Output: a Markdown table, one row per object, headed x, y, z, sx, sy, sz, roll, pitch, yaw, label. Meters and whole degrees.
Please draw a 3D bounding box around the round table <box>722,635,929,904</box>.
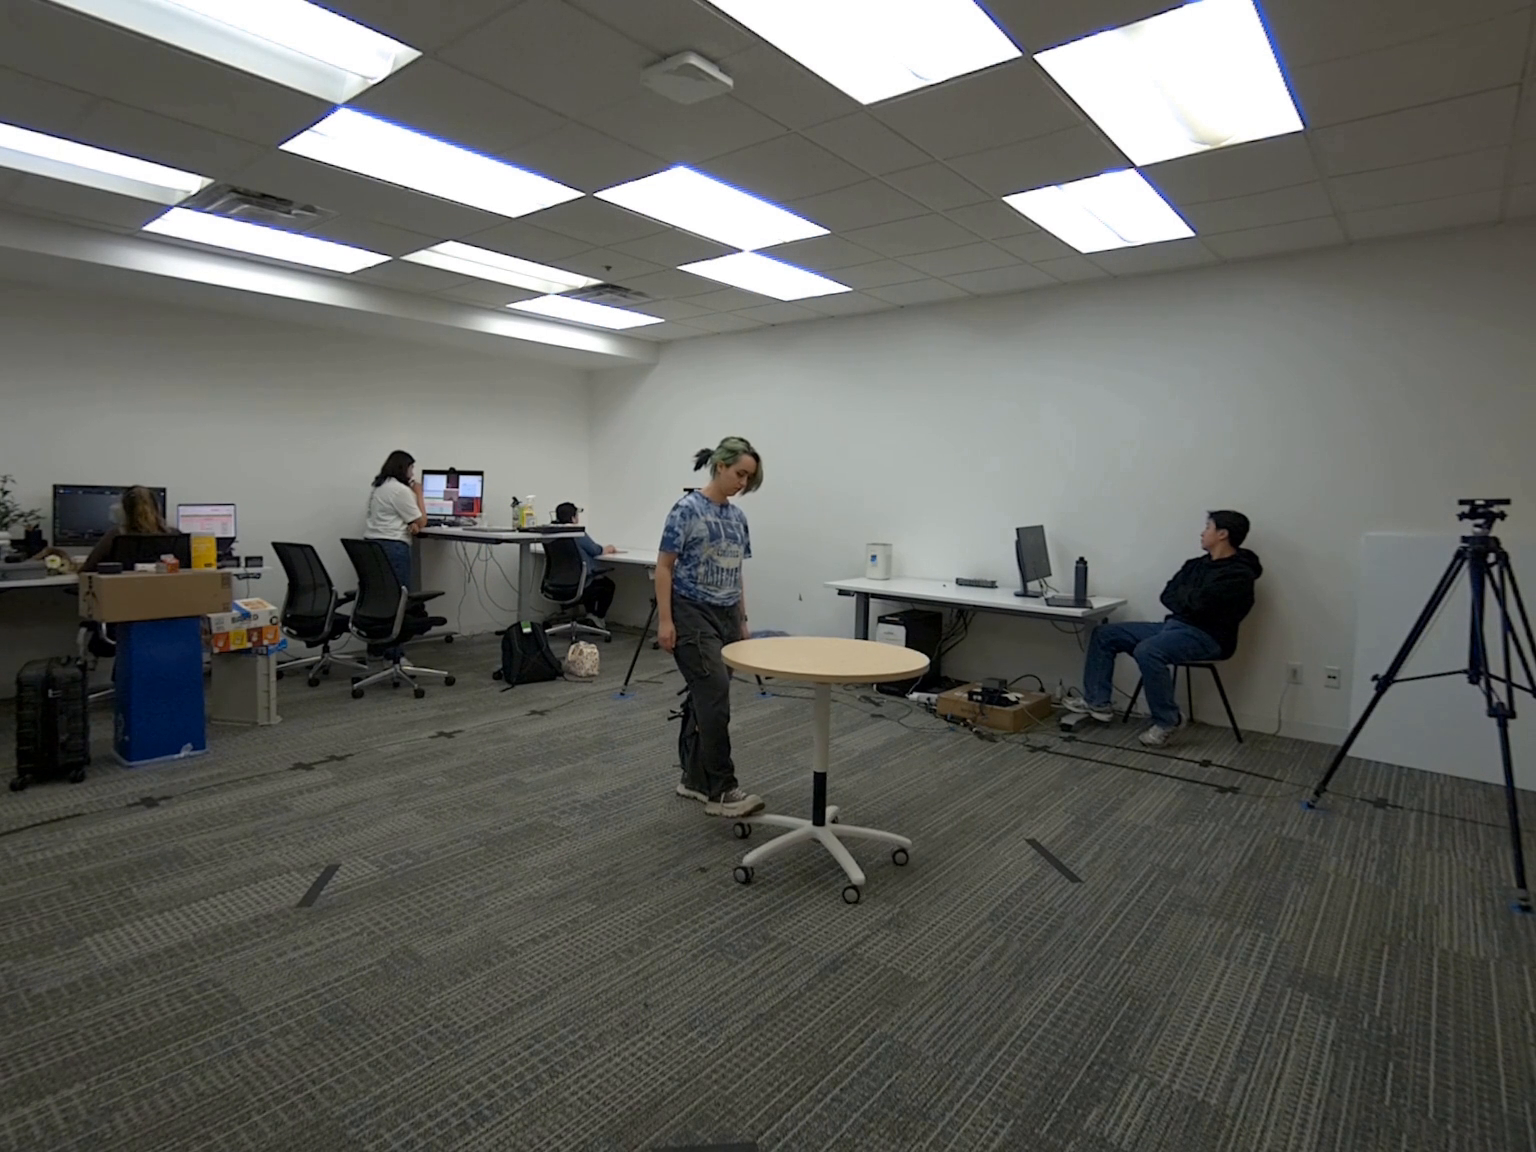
| x | y | z | sx | sy | sz | roll | pitch | yaw | label |
| --- | --- | --- | --- | --- | --- | --- | --- | --- | --- |
| 0.187 | 0.682 | 3.185 | 0.763 | 0.791 | 0.768 | 1 | 4 | -2 | round table |
